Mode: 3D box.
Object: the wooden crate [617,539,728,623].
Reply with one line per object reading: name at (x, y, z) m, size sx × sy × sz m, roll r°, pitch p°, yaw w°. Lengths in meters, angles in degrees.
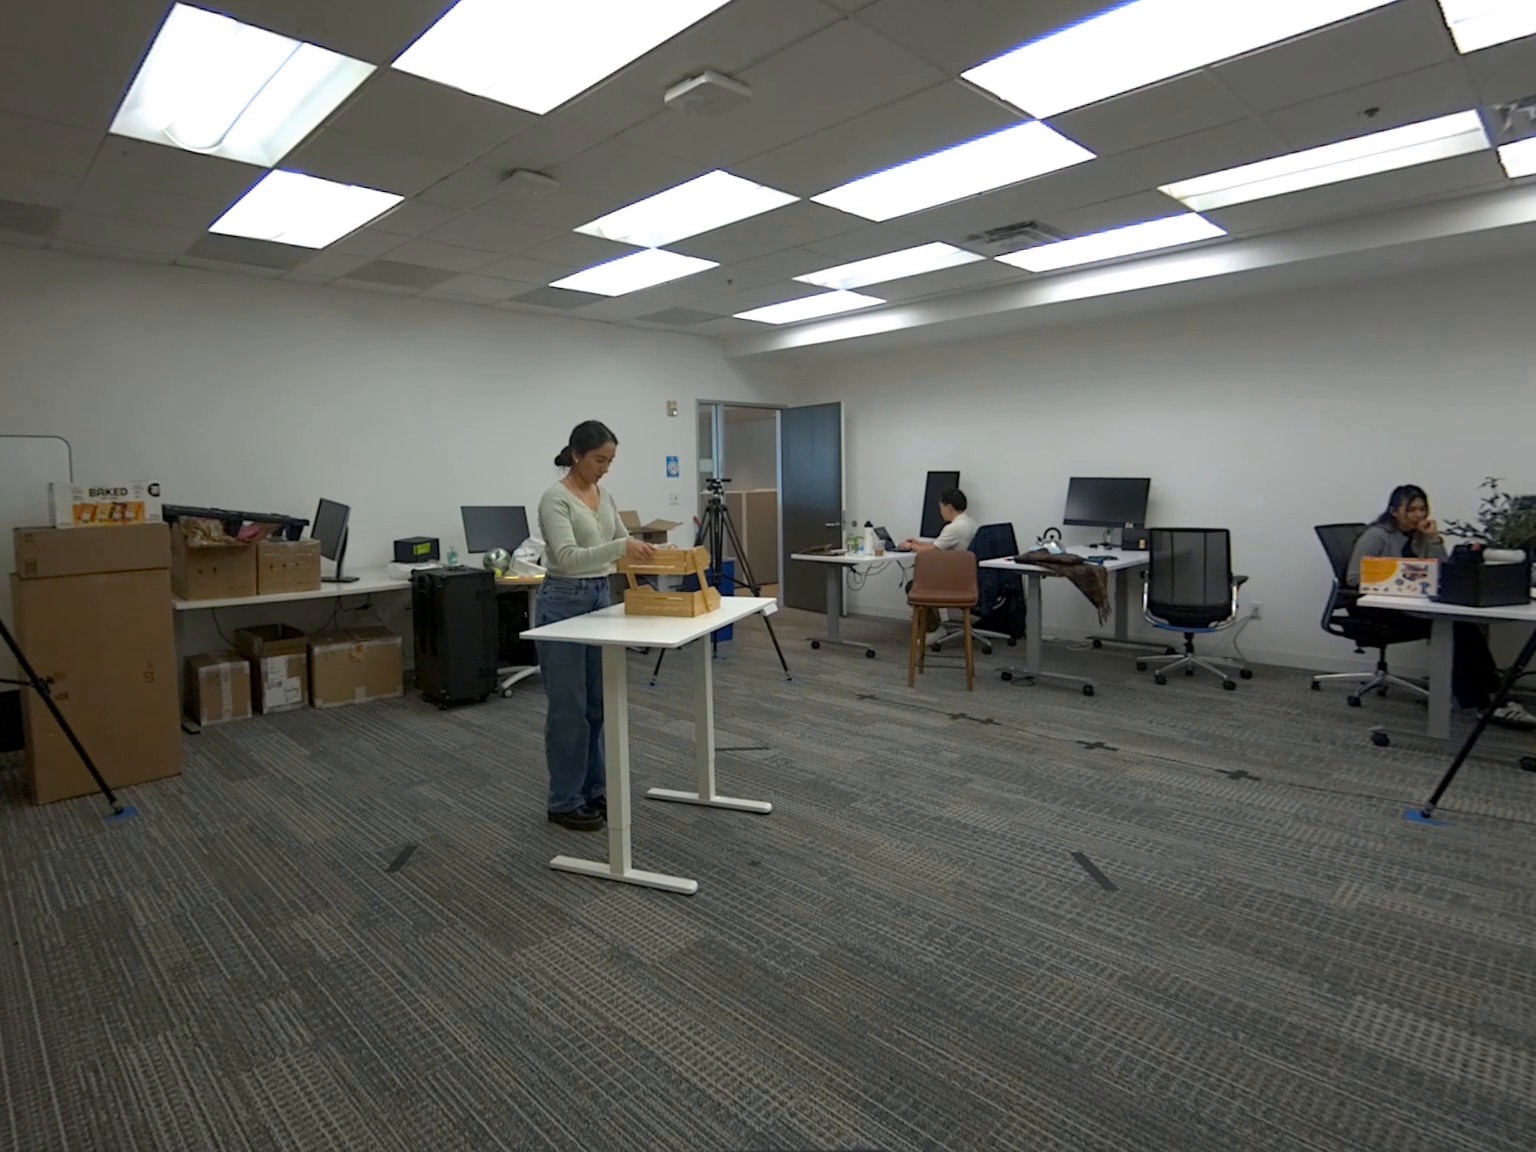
wooden crate at (-0.371, 0.009, 3.336) m, size 0.331 × 0.272 × 0.297 m, roll 1°, pitch 6°, yaw 21°
